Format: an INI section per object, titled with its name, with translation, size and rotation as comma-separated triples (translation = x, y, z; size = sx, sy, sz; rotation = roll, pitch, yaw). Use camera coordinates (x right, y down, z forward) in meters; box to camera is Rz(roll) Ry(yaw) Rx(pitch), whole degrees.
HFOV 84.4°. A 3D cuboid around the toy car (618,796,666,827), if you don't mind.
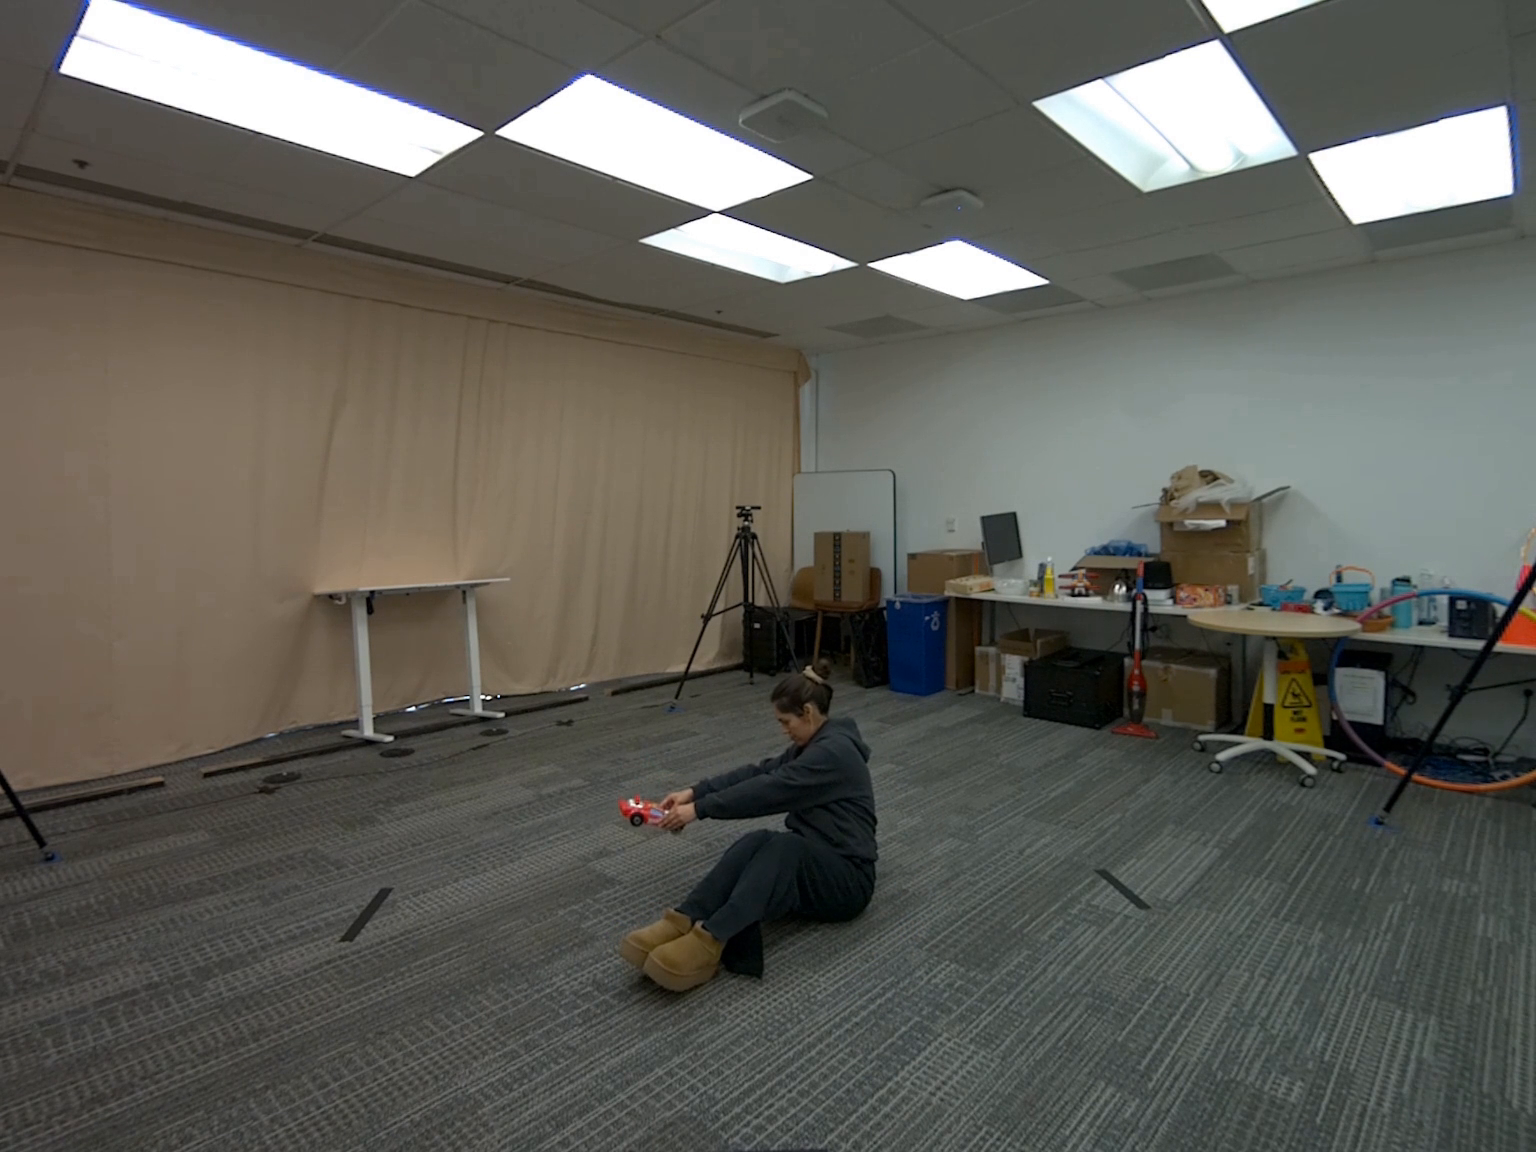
[toy car]
translation = -0.405, 0.865, 3.017
size = 0.253, 0.083, 0.131
rotation = 28, -4, -6
